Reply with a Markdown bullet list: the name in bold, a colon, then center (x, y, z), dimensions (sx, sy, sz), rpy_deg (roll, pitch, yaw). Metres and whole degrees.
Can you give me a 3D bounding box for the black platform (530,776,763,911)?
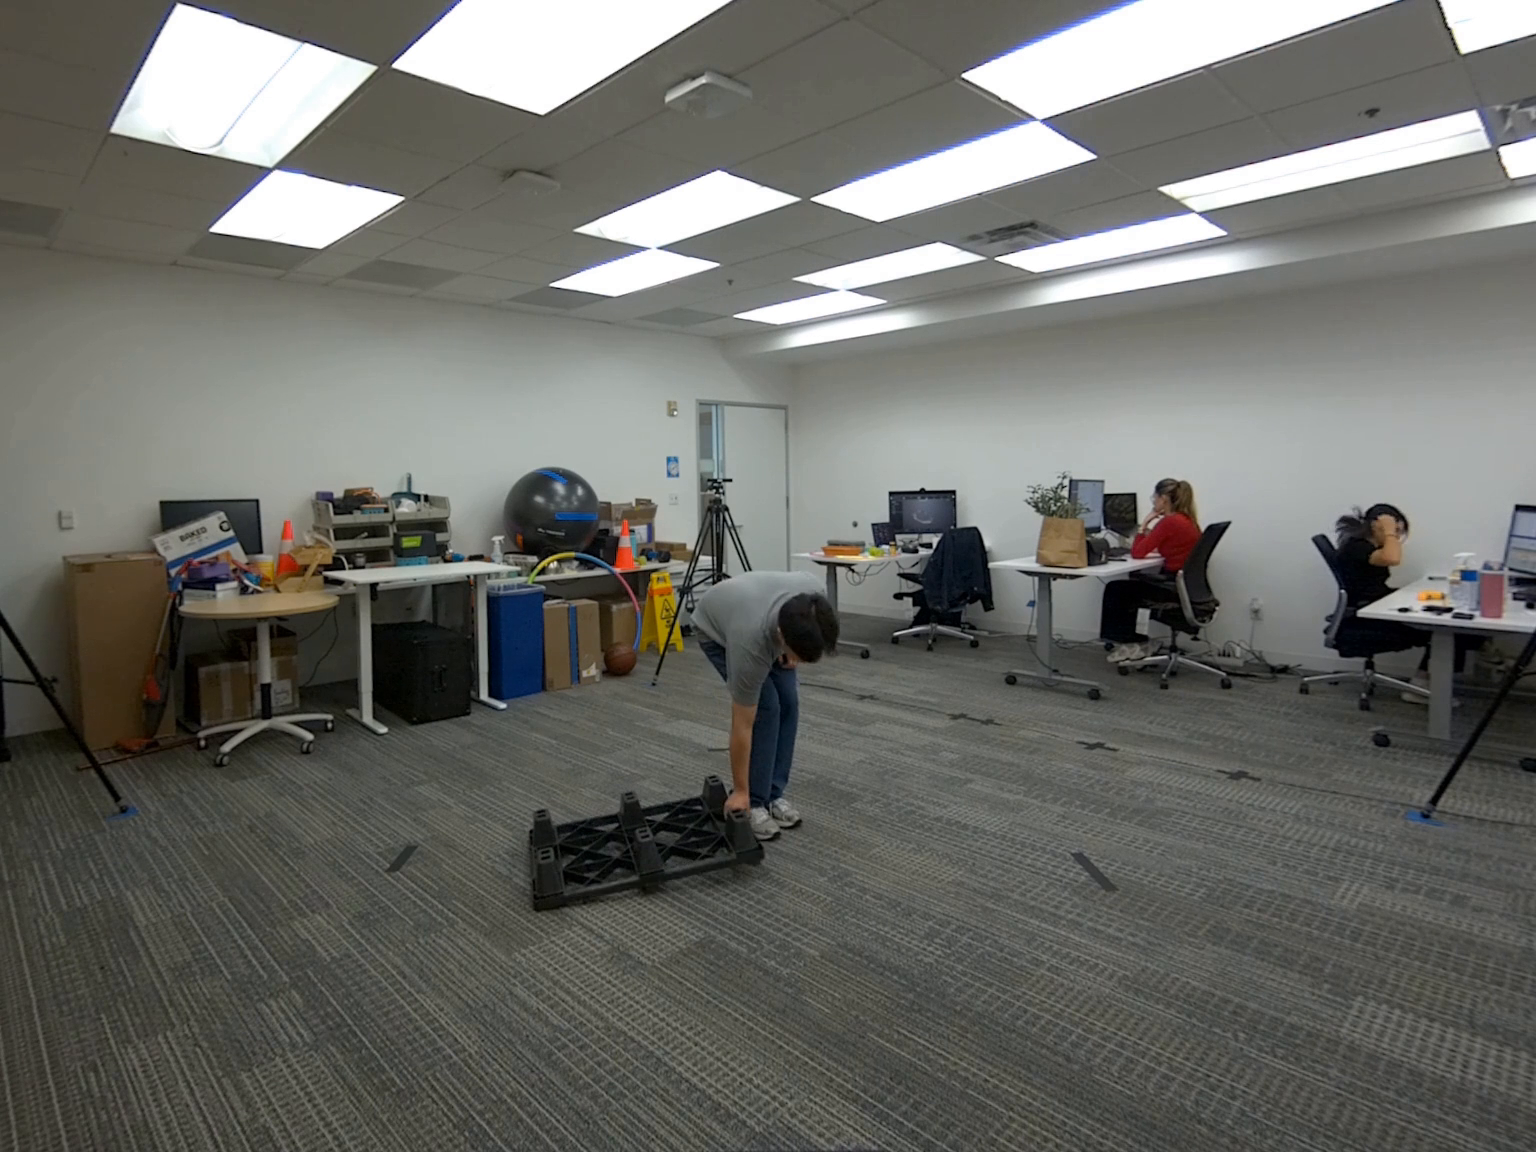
- **black platform**: center (-0.477, 0.937, 3.159), dimensions (0.796, 0.142, 0.616), rpy_deg (-8, 8, -15)
